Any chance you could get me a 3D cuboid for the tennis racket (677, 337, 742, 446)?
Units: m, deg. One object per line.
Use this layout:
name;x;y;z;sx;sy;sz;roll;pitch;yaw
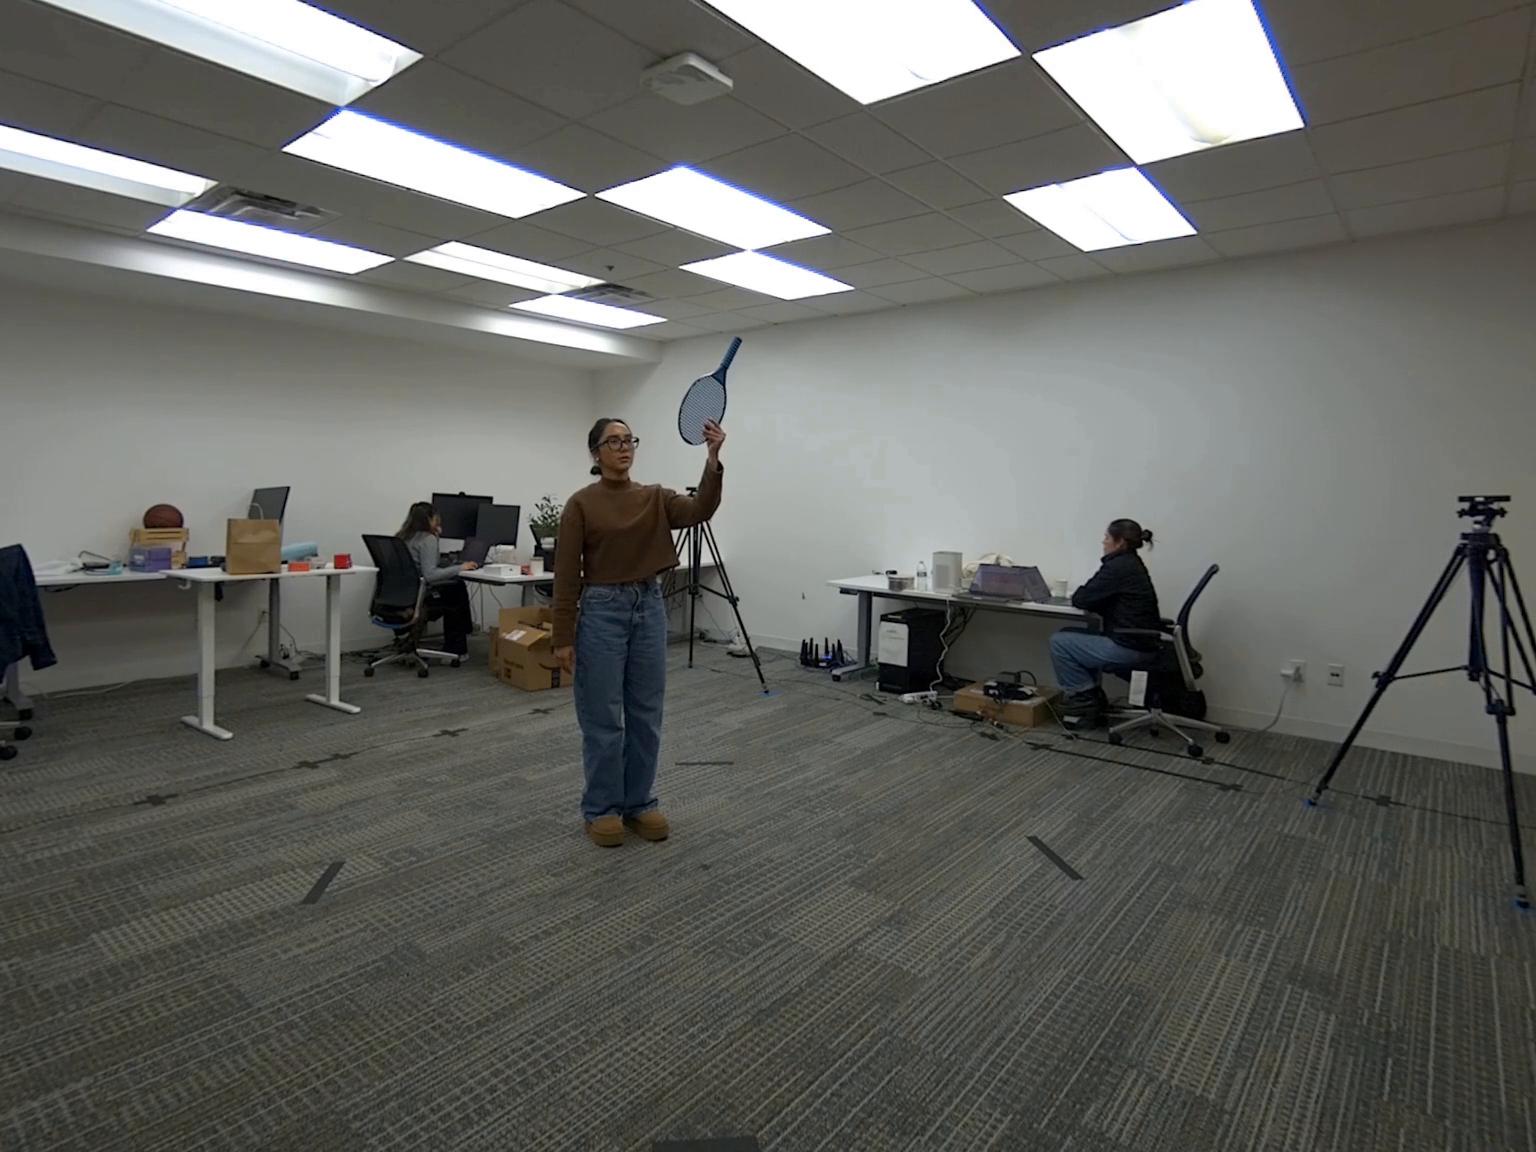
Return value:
tennis racket;-0.212;-0.670;3.090;0.033;0.434;0.205;21;-8;41
